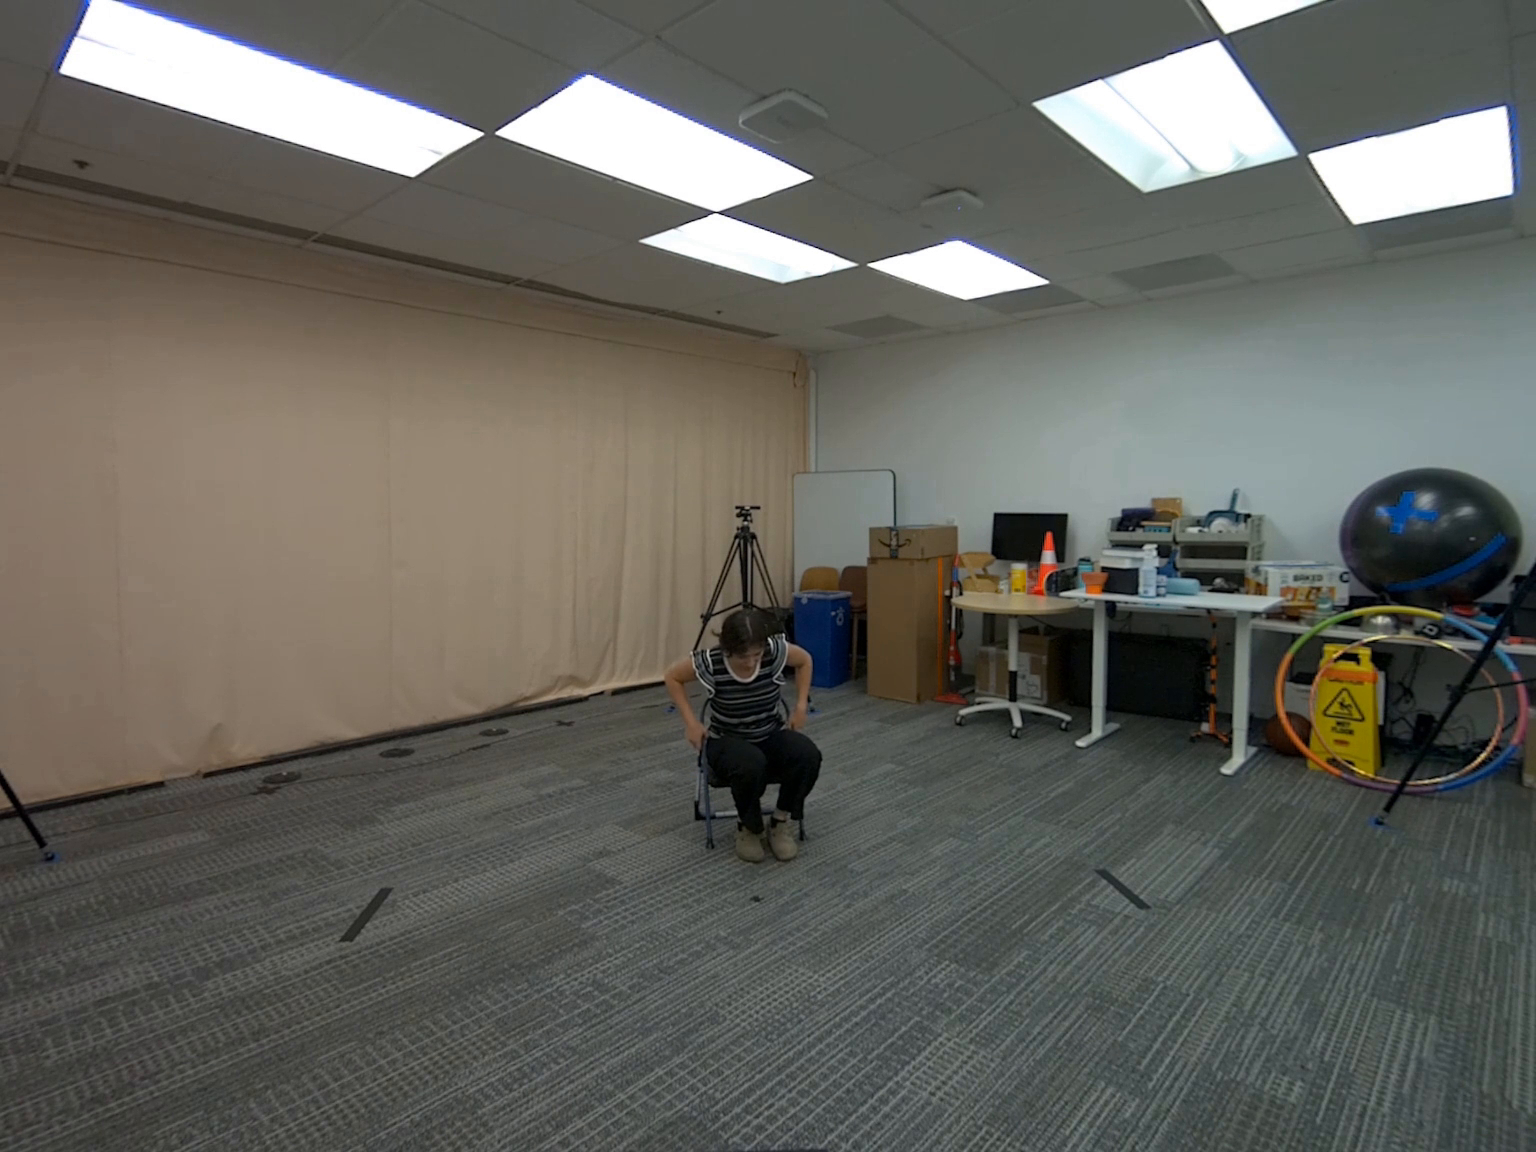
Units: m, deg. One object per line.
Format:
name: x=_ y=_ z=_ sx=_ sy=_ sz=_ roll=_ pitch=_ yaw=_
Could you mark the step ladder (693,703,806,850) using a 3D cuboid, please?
step ladder: x=-0.086 y=0.798 z=3.622 sx=0.424 sy=0.605 sz=0.355 roll=0 pitch=3 yaw=-14
